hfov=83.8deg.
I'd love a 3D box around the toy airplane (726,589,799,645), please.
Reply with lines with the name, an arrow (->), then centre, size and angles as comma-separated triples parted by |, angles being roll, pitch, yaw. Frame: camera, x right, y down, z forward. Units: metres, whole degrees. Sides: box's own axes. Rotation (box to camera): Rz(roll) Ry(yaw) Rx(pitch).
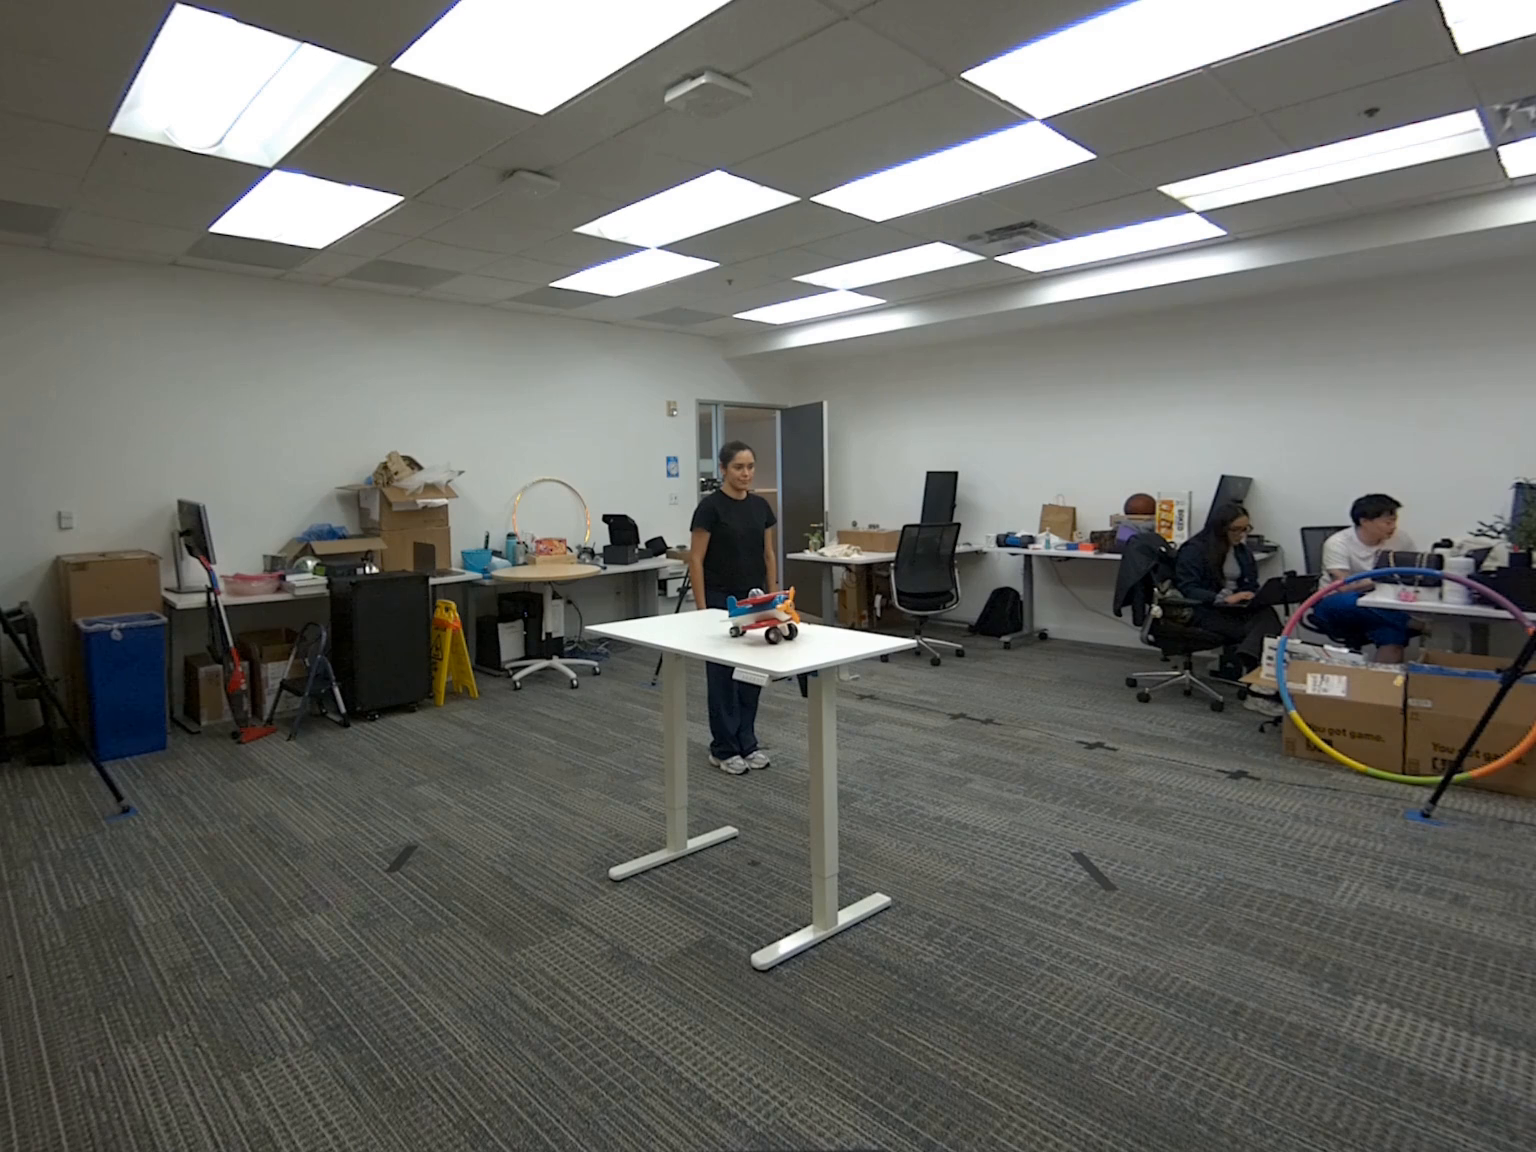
toy airplane -> -0.035, 0.129, 2.736 | 0.262, 0.156, 0.250 | 0, 6, 10
